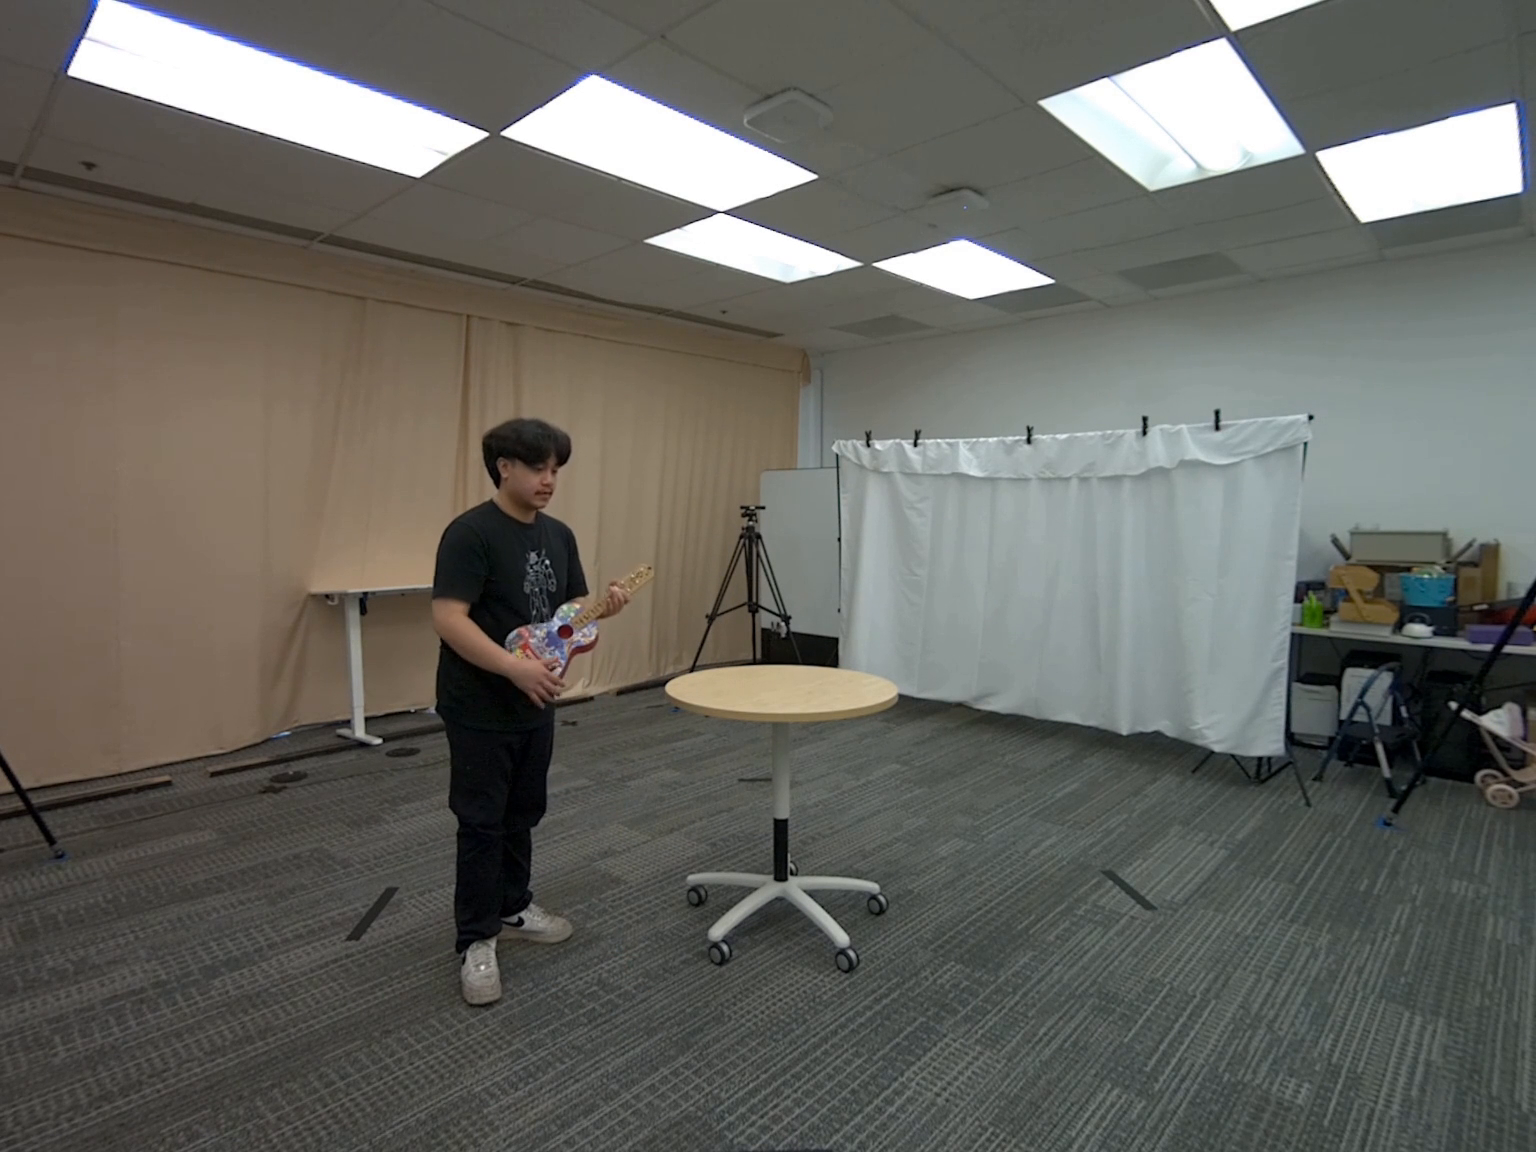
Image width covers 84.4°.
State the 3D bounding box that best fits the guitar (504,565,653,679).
[{"bbox_3d":[-0.528,0.150,2.469,0.493,0.196,0.070,-35,-14,-19],"label":"guitar"}]
